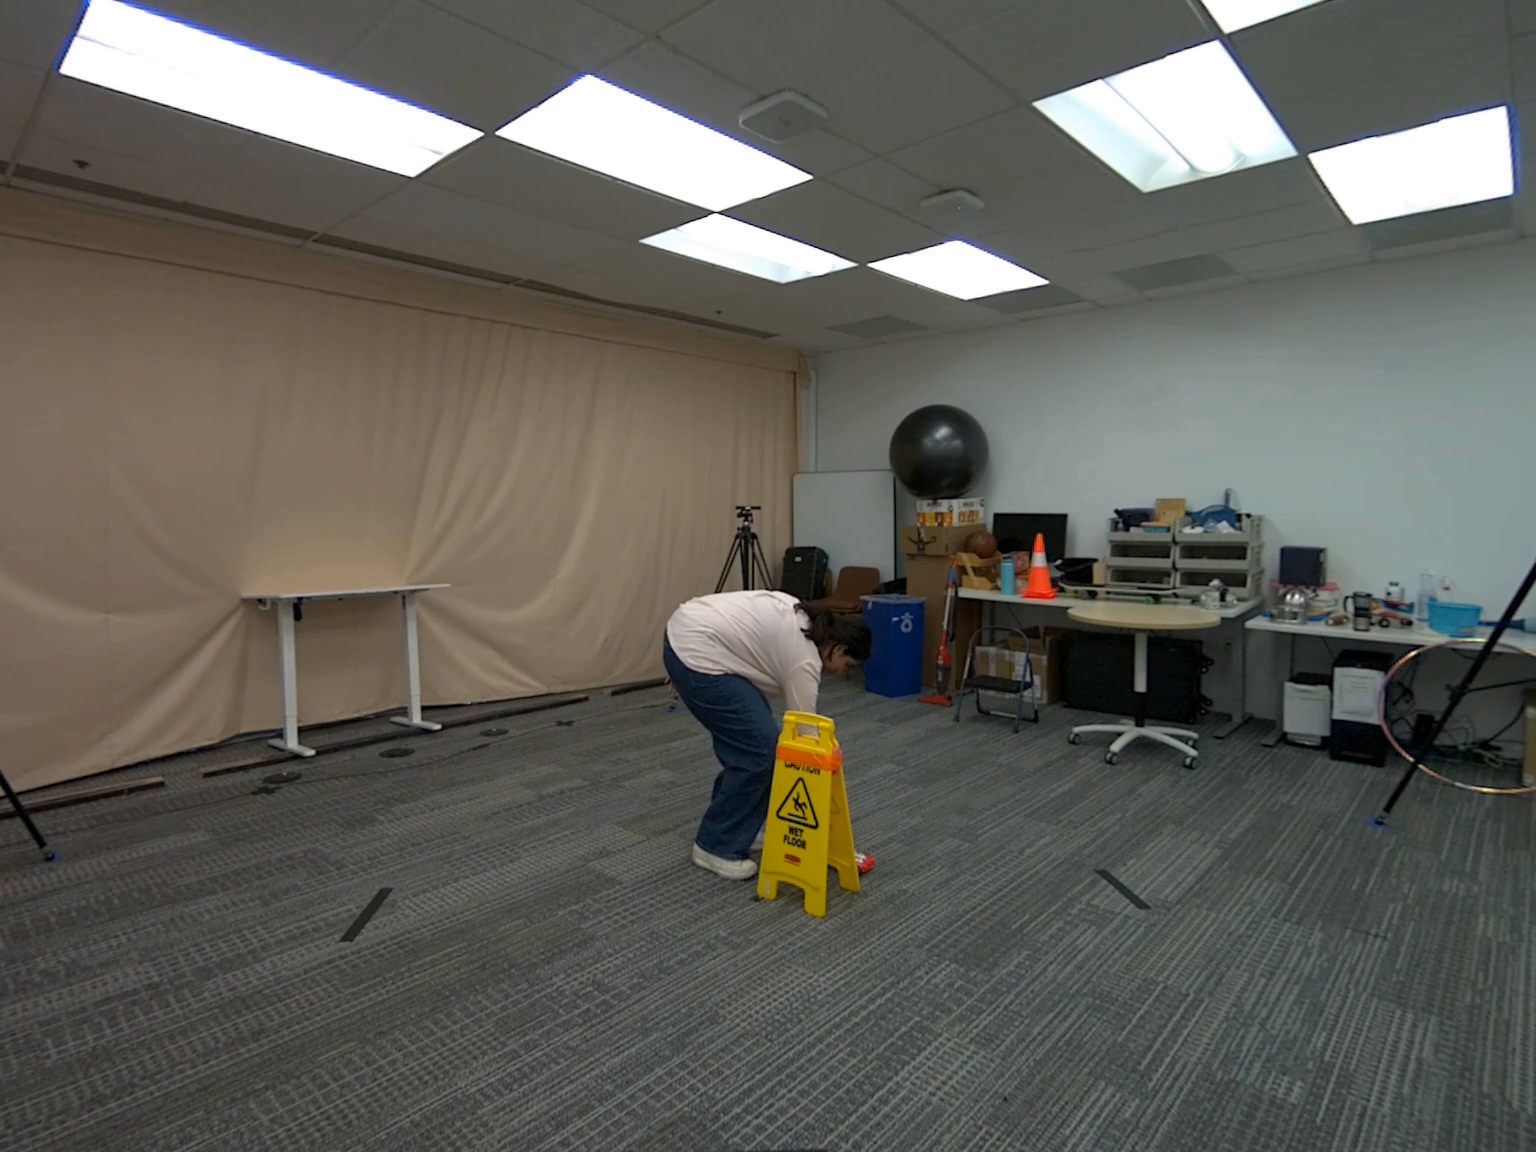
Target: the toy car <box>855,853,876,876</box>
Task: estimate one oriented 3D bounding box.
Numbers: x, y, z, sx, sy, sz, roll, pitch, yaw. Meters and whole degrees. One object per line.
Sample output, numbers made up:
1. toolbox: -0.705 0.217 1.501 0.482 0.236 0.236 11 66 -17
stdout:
1. toy car: 0.290 1.091 3.251 0.263 0.083 0.126 15 12 35
